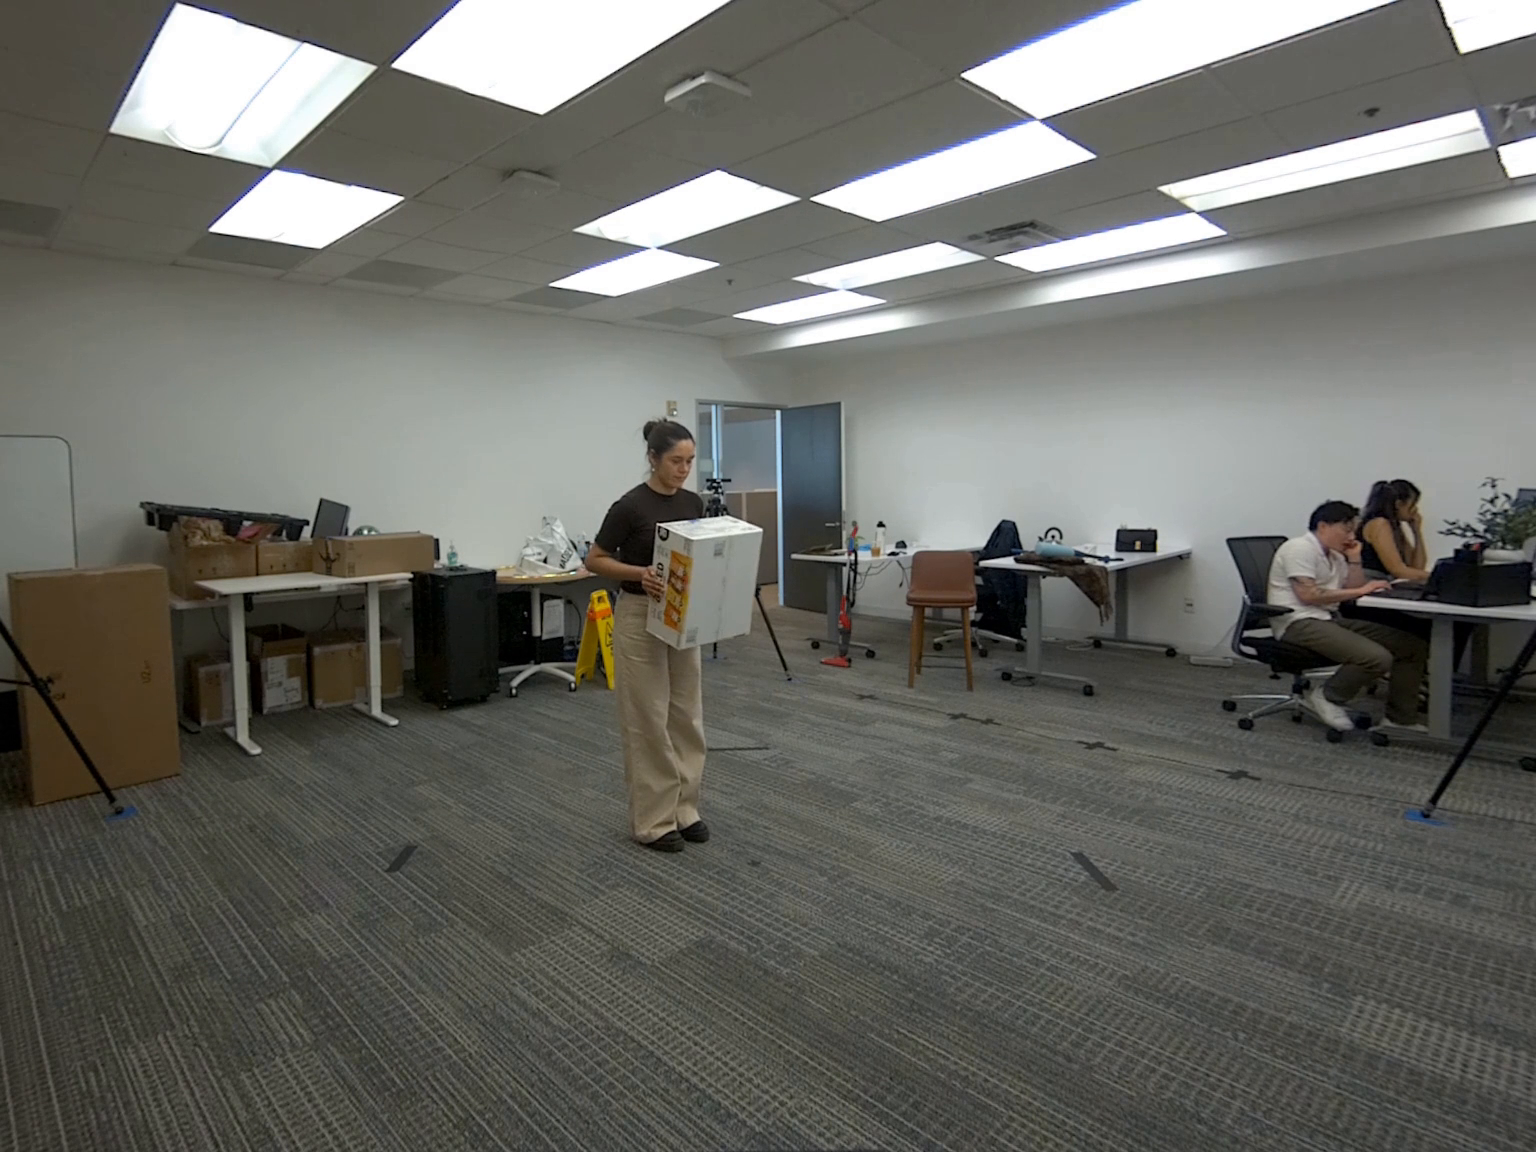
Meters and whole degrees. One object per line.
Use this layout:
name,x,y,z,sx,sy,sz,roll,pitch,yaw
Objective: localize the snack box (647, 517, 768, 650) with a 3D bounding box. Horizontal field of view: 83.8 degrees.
snack box,-0.222,0.022,3.093,0.332,0.400,0.213,-8,23,-42
